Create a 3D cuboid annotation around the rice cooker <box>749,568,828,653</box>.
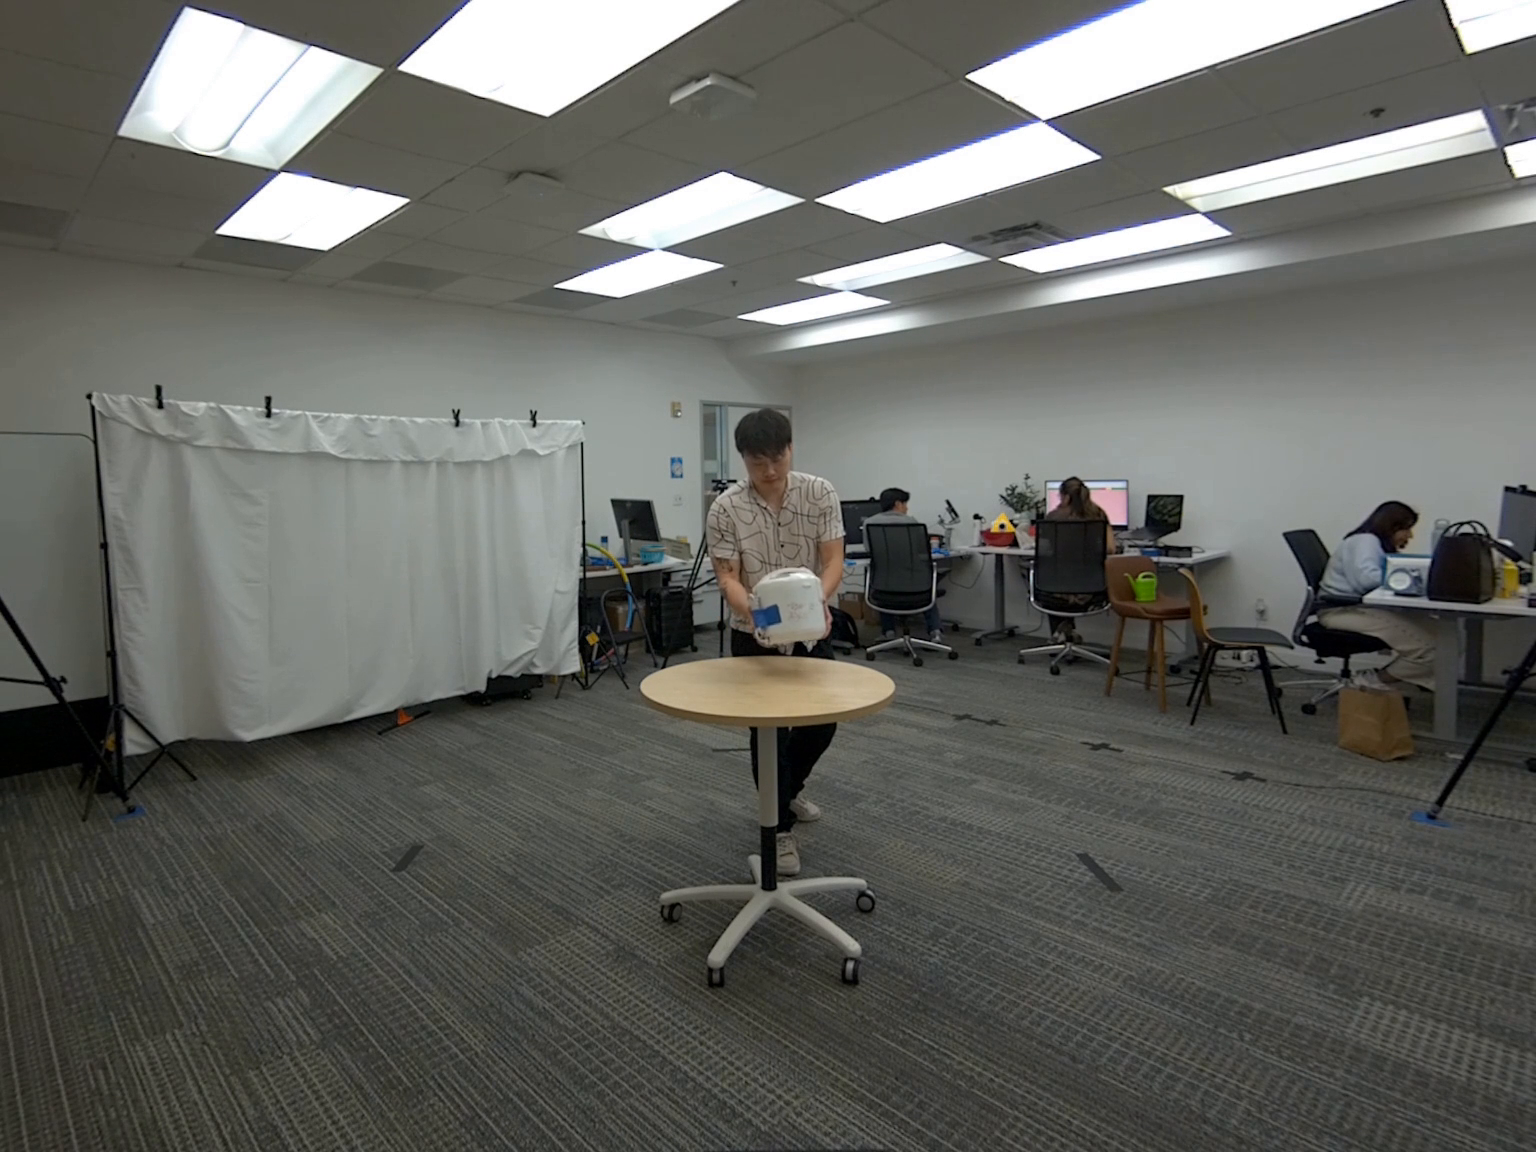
[{"bbox_3d":[0.067,0.094,2.671,0.224,0.234,0.213,-10,-6,18],"label":"rice cooker"}]
